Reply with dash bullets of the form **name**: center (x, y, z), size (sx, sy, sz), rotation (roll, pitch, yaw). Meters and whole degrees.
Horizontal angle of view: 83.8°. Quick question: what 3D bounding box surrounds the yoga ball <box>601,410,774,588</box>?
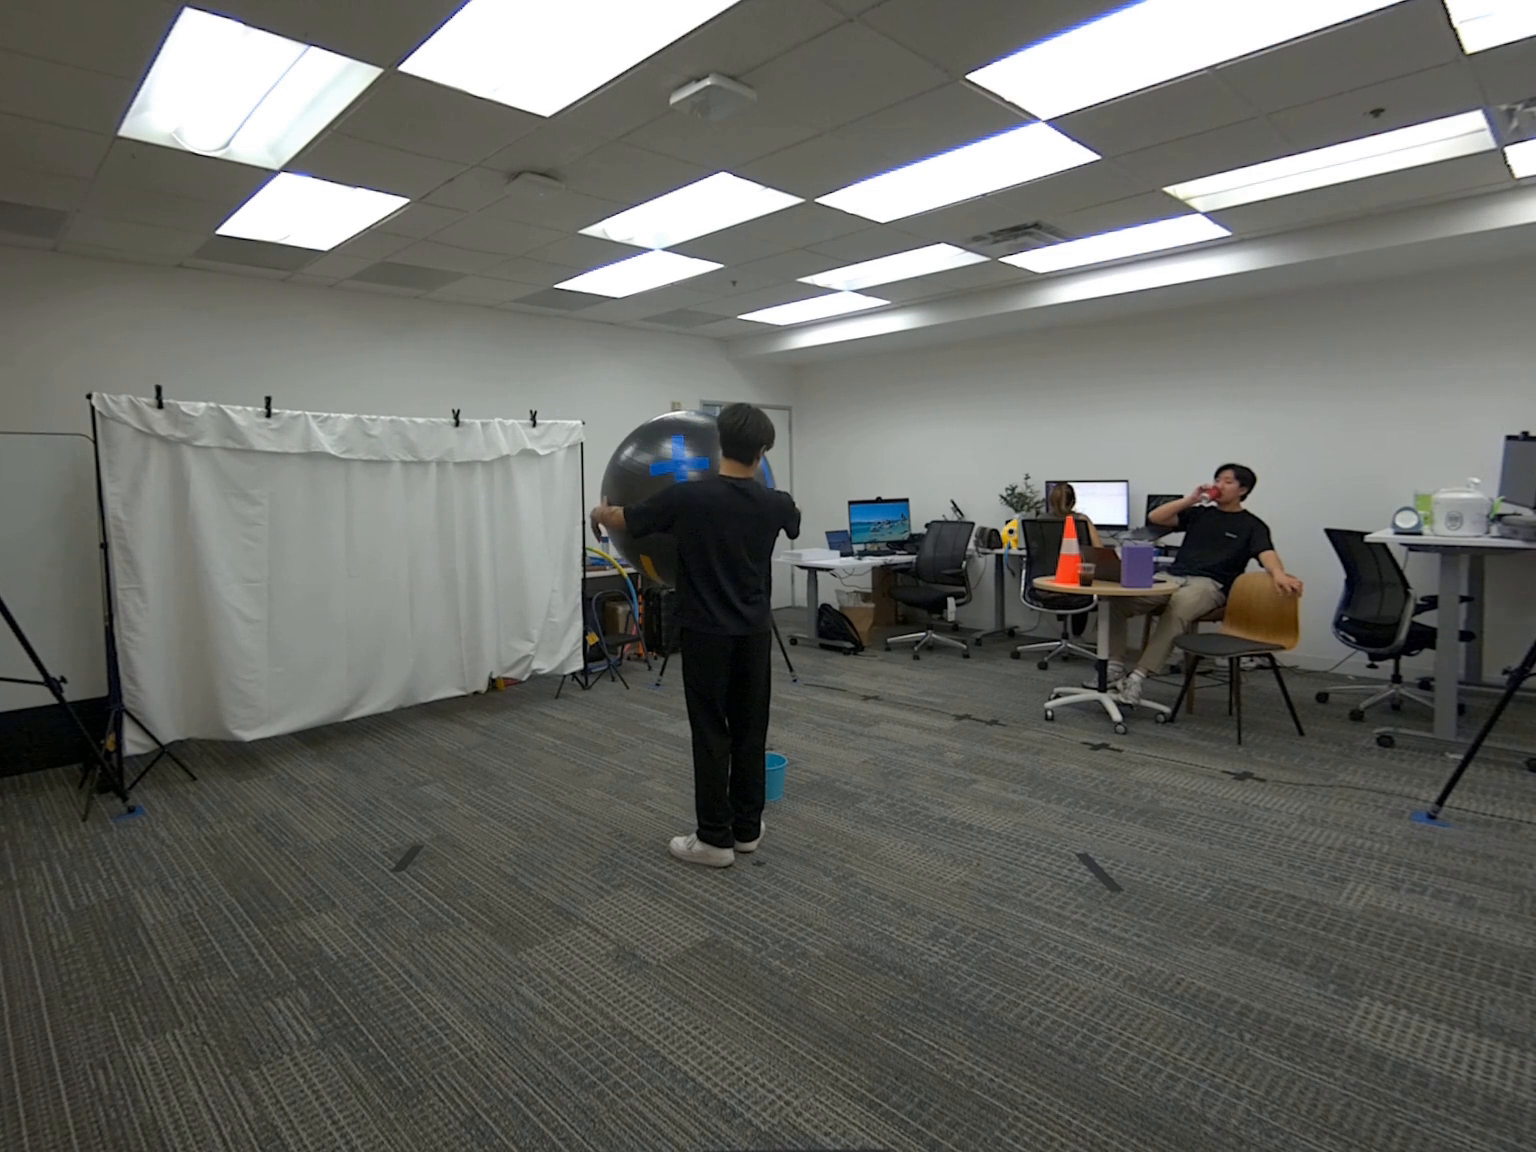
- **yoga ball**: center (-0.344, -0.326, 3.687), size (0.757, 0.755, 0.762), rotation (-1, 5, -2)
